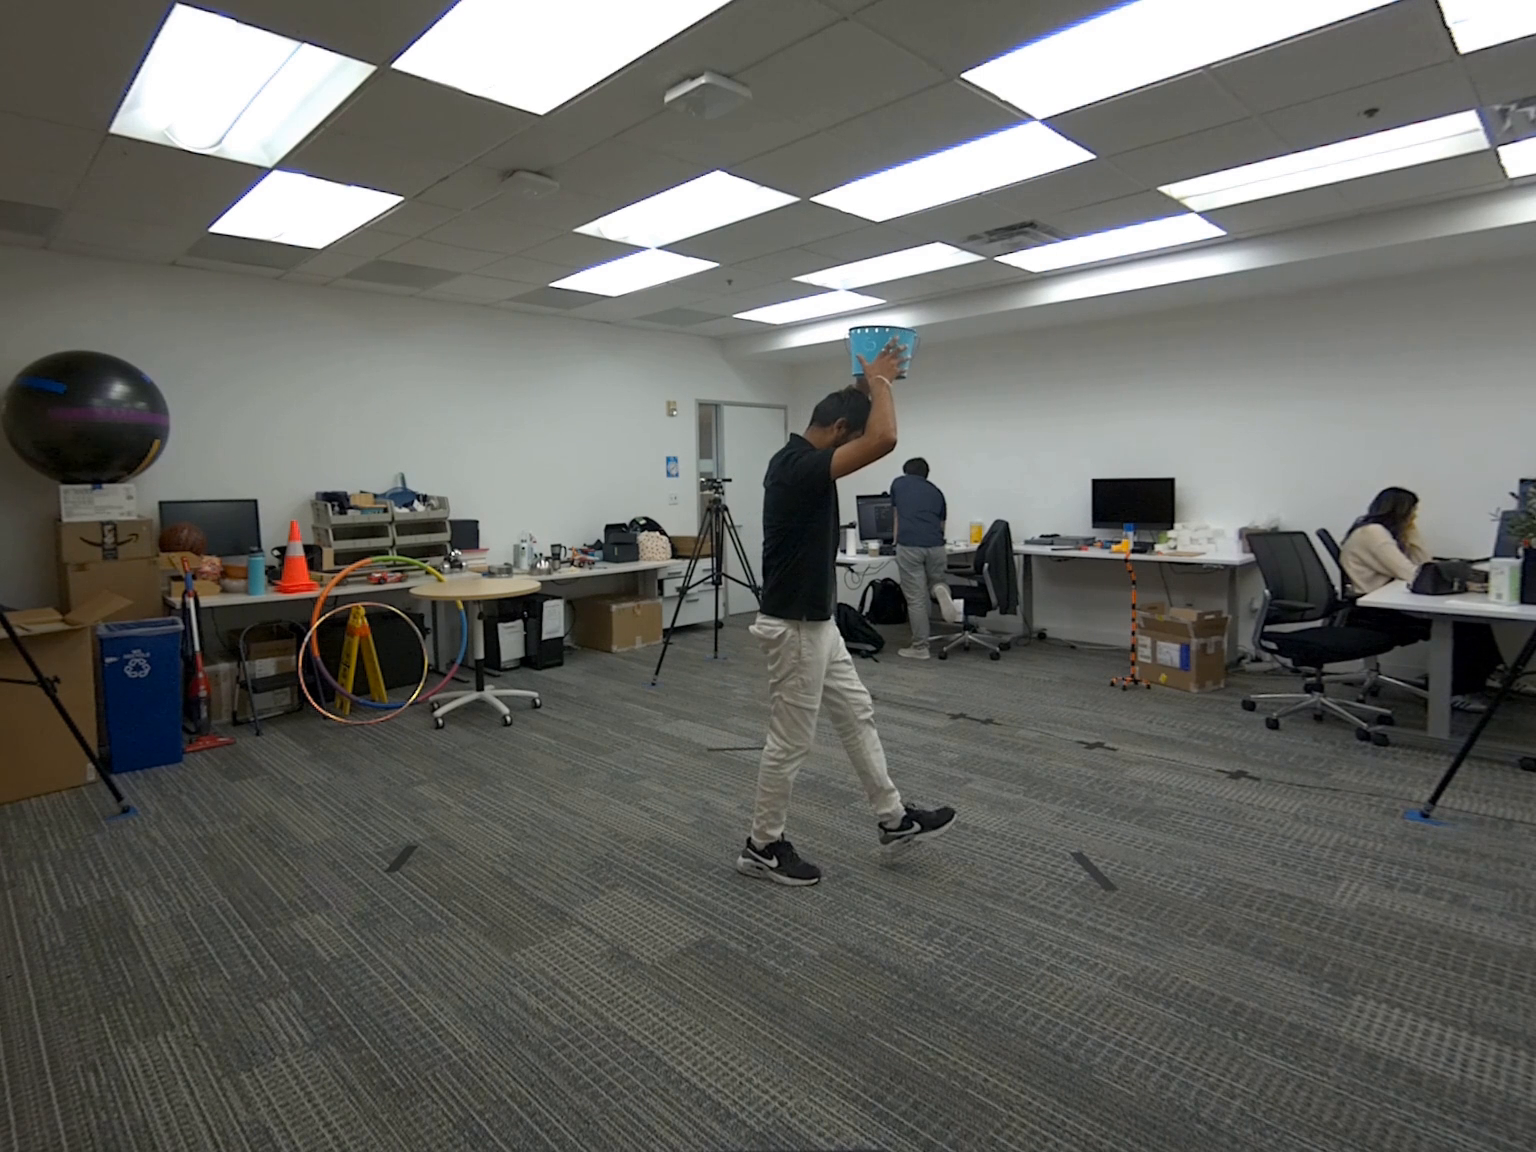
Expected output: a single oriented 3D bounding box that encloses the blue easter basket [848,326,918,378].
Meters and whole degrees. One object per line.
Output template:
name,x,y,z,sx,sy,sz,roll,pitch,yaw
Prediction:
blue easter basket,0.396,-0.756,2.886,0.243,0.155,0.245,5,5,-2
